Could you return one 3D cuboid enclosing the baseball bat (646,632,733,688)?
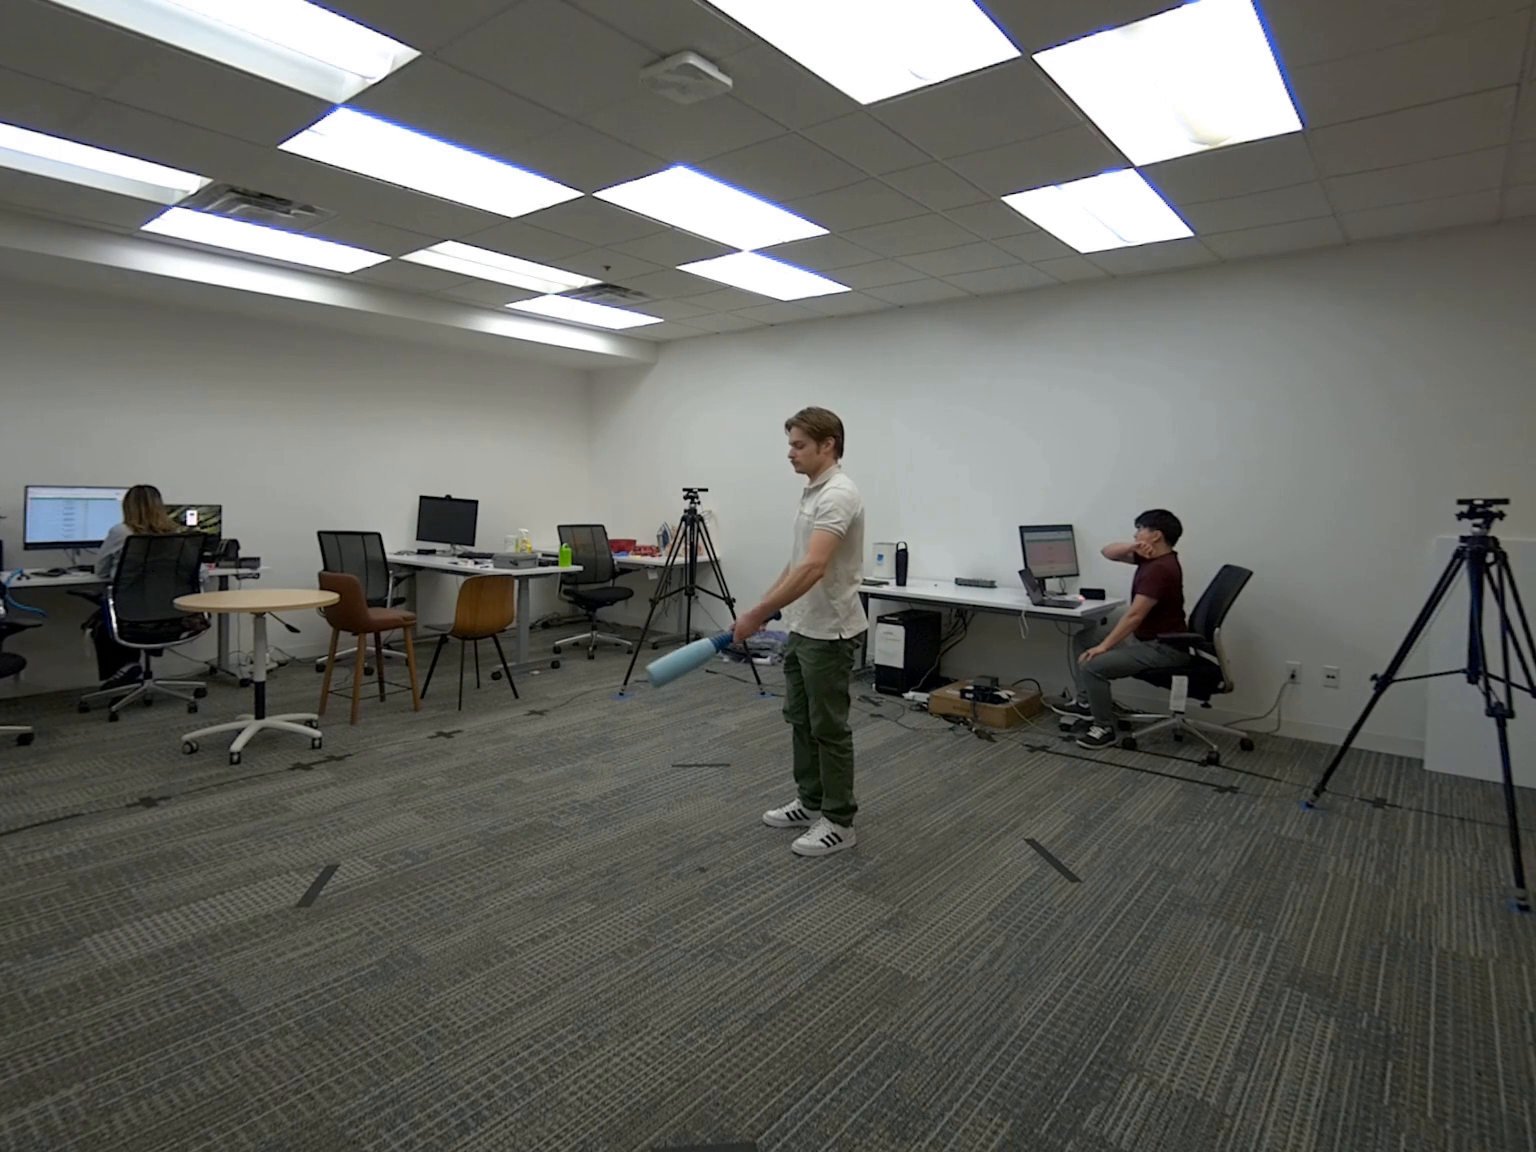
[{"bbox_3d":[-0.171,0.245,3.006,0.537,0.087,0.091,-26,15,-21],"label":"baseball bat"}]
